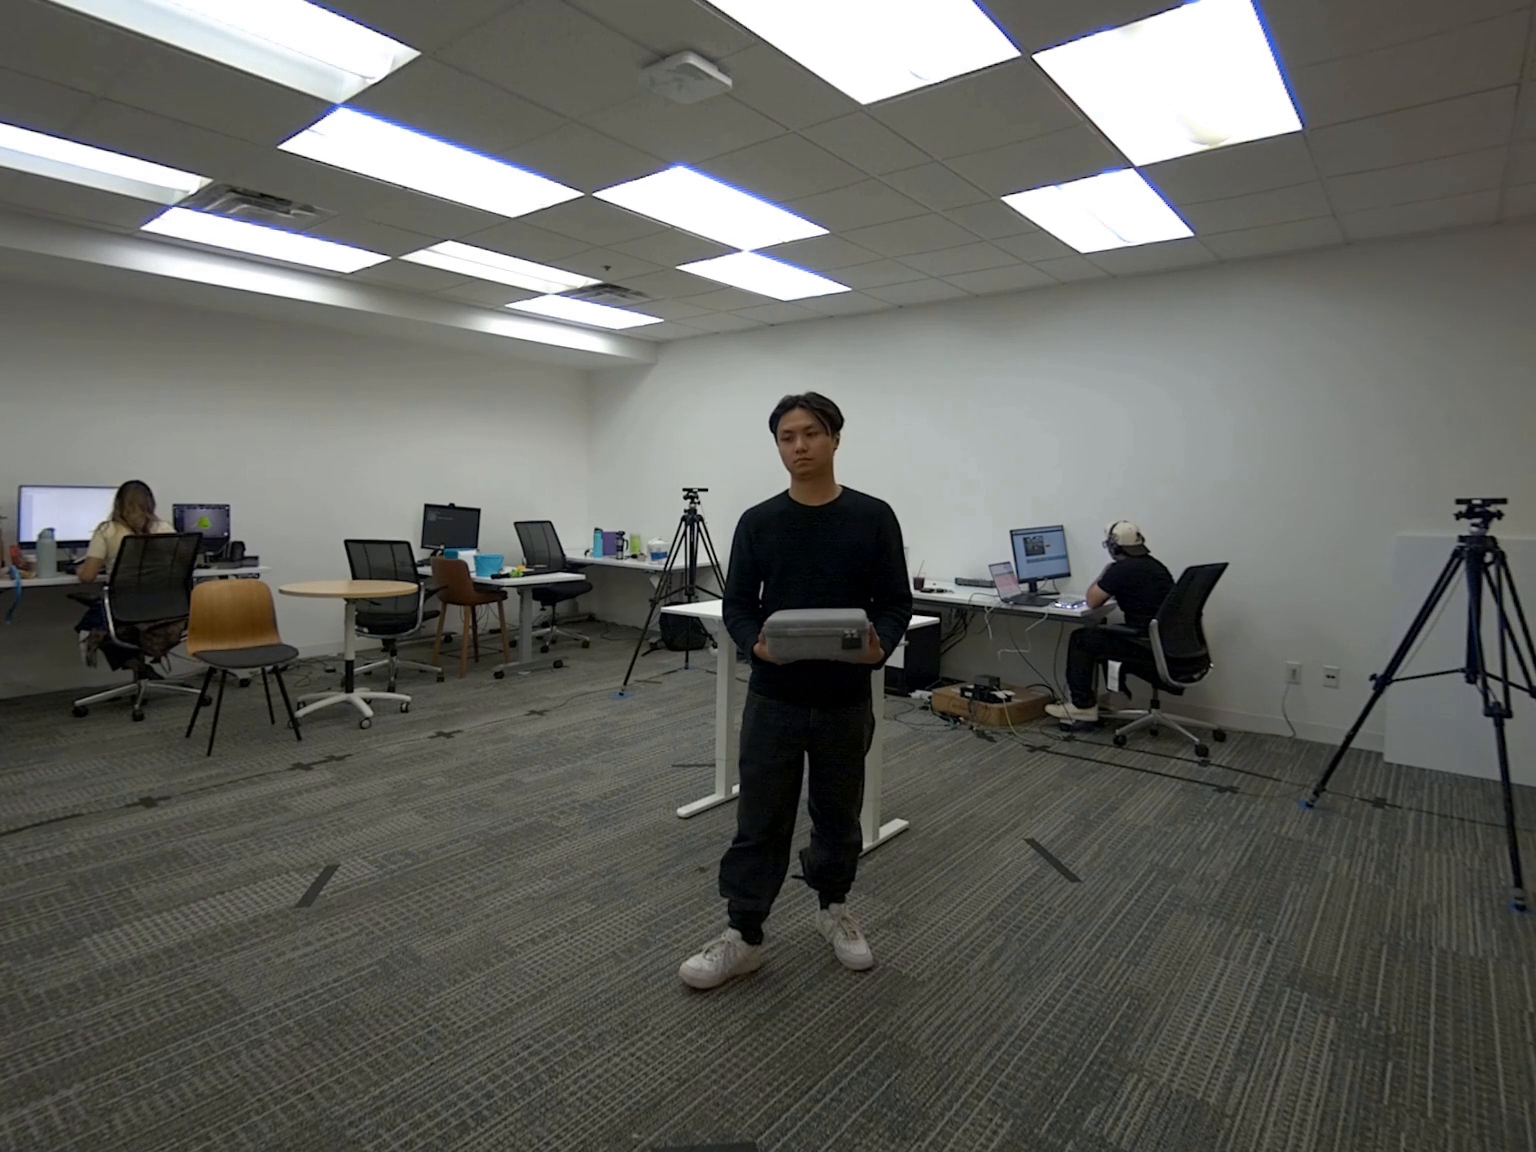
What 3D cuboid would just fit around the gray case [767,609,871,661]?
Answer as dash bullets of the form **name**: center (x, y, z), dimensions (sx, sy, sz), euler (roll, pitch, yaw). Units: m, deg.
- **gray case**: center (0.132, 0.138, 2.169), dimensions (0.261, 0.104, 0.256), euler (-3, 3, 2)
